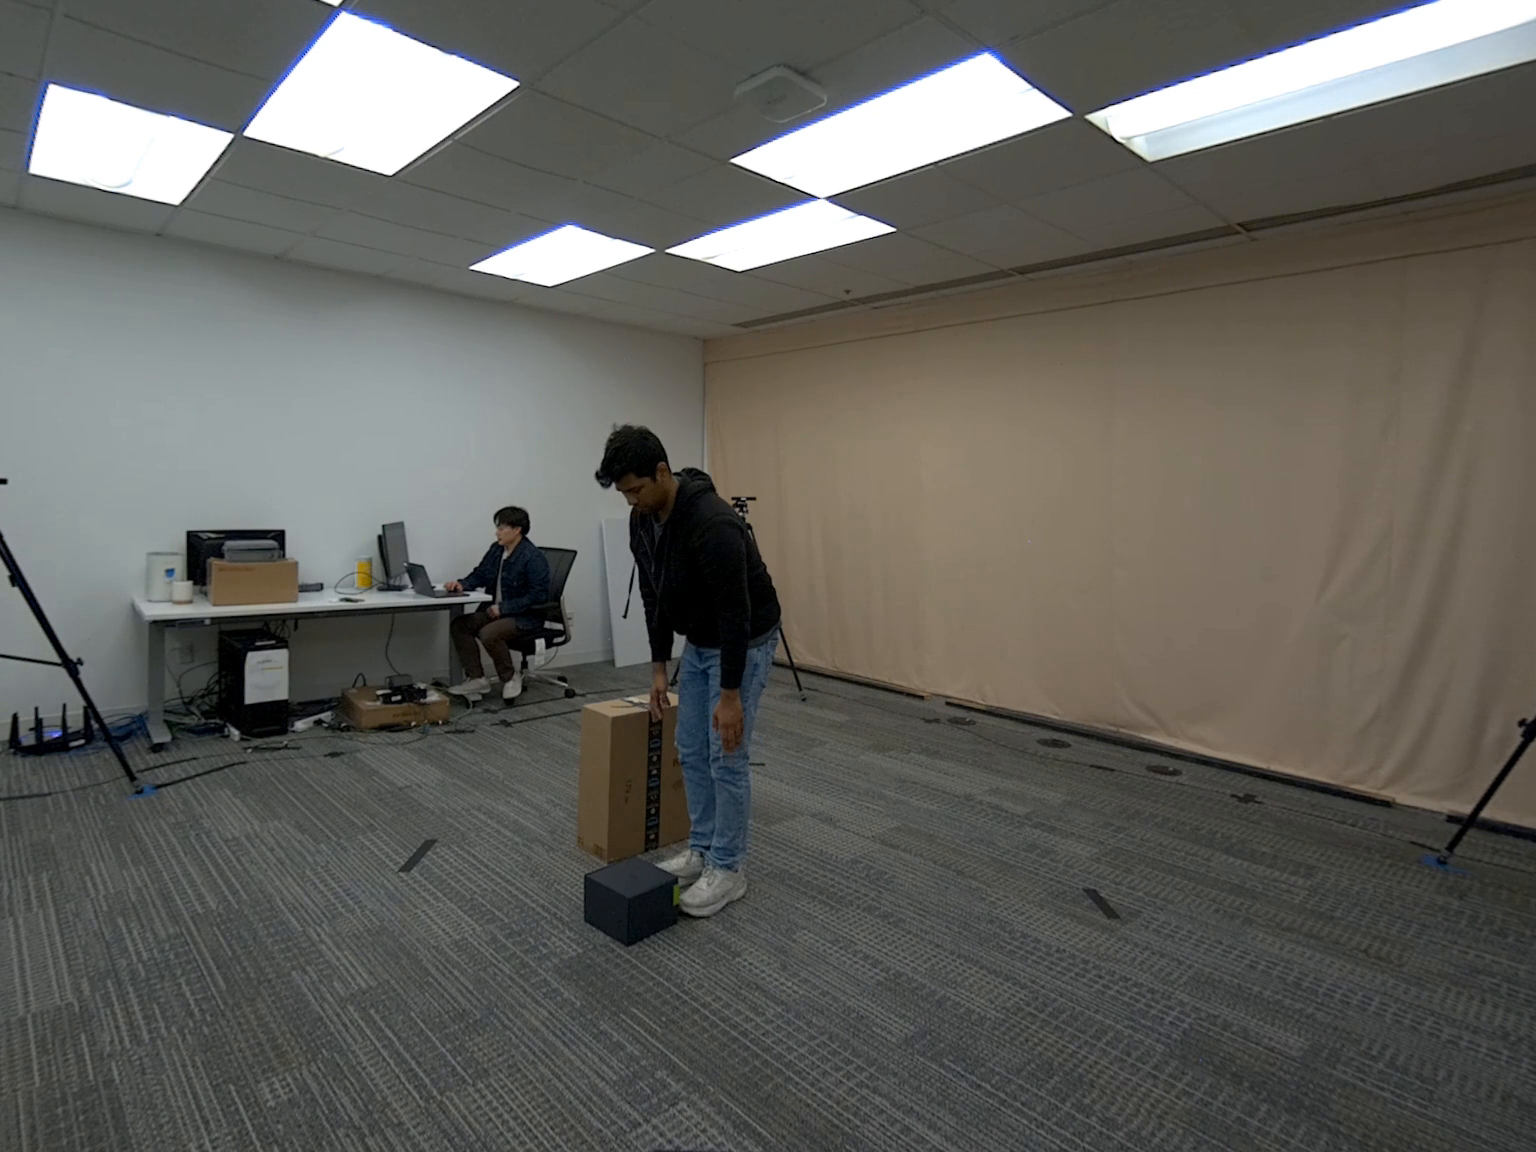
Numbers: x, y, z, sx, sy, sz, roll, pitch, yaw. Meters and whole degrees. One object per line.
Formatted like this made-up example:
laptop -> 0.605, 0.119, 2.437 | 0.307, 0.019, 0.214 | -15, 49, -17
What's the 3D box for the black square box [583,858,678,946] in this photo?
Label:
black square box -> -0.458, 1.052, 2.738 | 0.234, 0.155, 0.212 | 5, 6, 42
